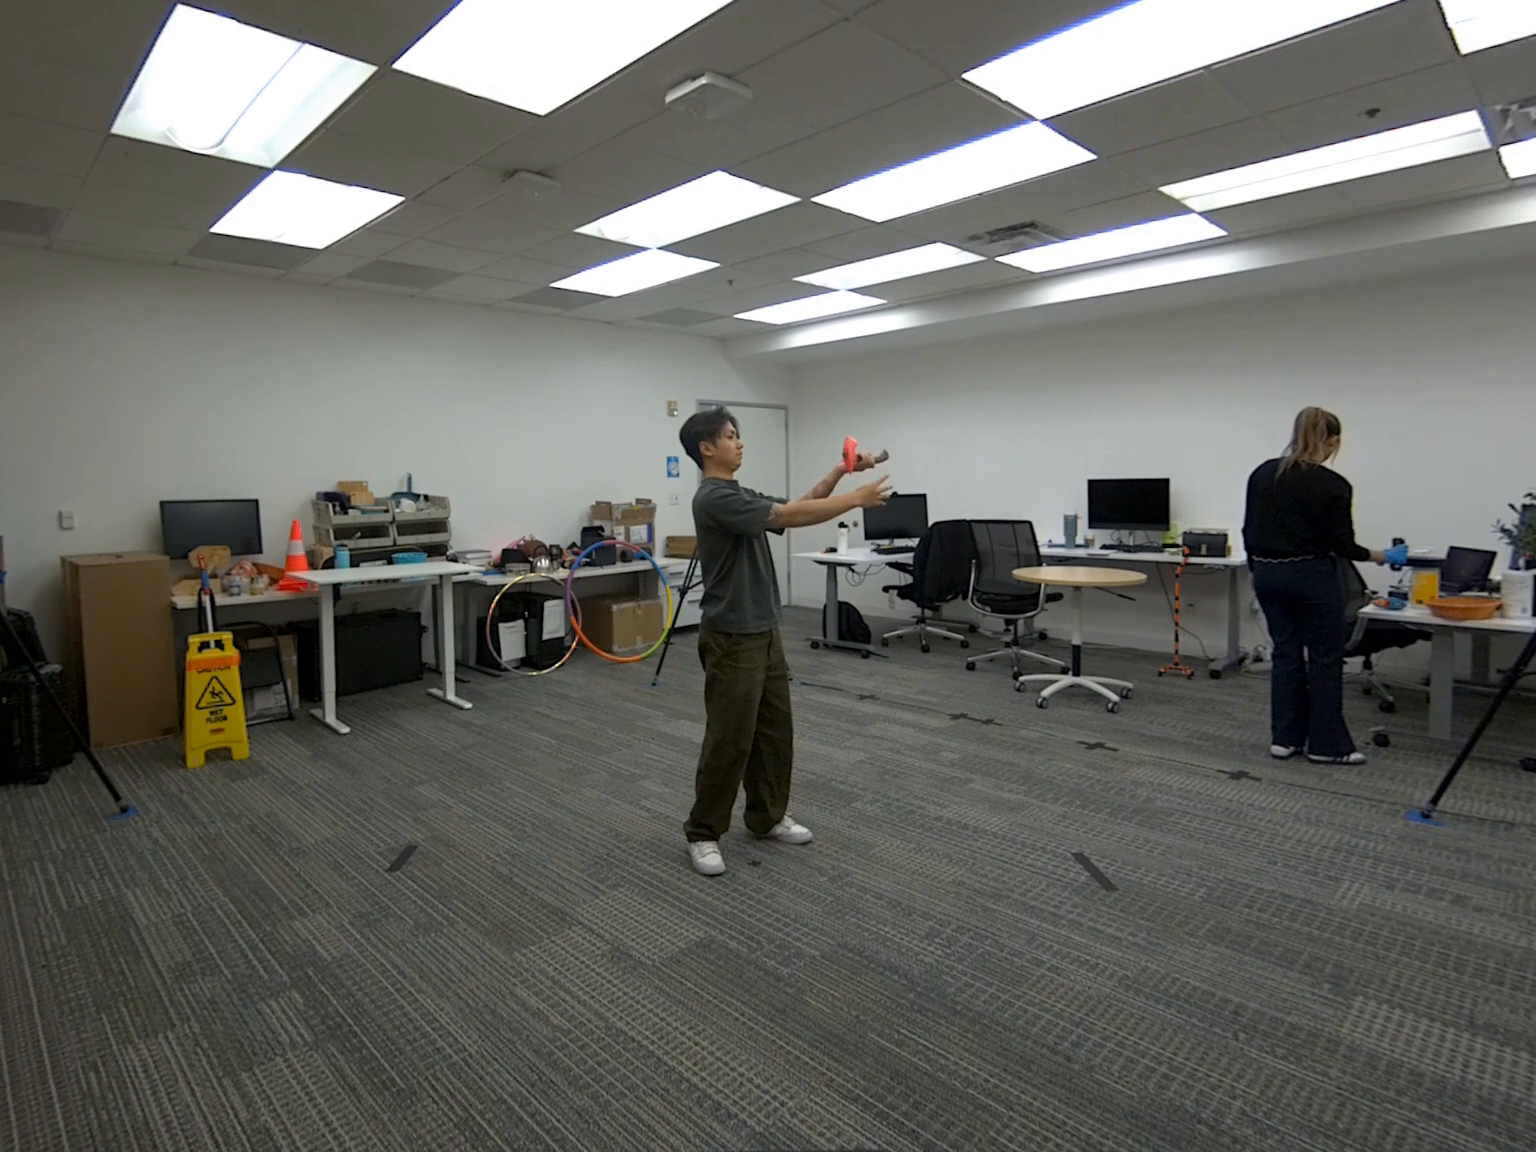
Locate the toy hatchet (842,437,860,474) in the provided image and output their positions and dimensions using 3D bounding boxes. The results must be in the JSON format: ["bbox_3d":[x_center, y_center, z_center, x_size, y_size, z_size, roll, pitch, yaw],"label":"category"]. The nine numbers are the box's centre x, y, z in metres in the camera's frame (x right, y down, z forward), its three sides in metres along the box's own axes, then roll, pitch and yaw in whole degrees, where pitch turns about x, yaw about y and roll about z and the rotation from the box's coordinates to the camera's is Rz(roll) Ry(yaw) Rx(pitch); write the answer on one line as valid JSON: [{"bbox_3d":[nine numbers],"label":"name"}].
[{"bbox_3d":[0.348,-0.453,3.084,0.030,0.130,0.266,-12,9,42],"label":"toy hatchet"}]
